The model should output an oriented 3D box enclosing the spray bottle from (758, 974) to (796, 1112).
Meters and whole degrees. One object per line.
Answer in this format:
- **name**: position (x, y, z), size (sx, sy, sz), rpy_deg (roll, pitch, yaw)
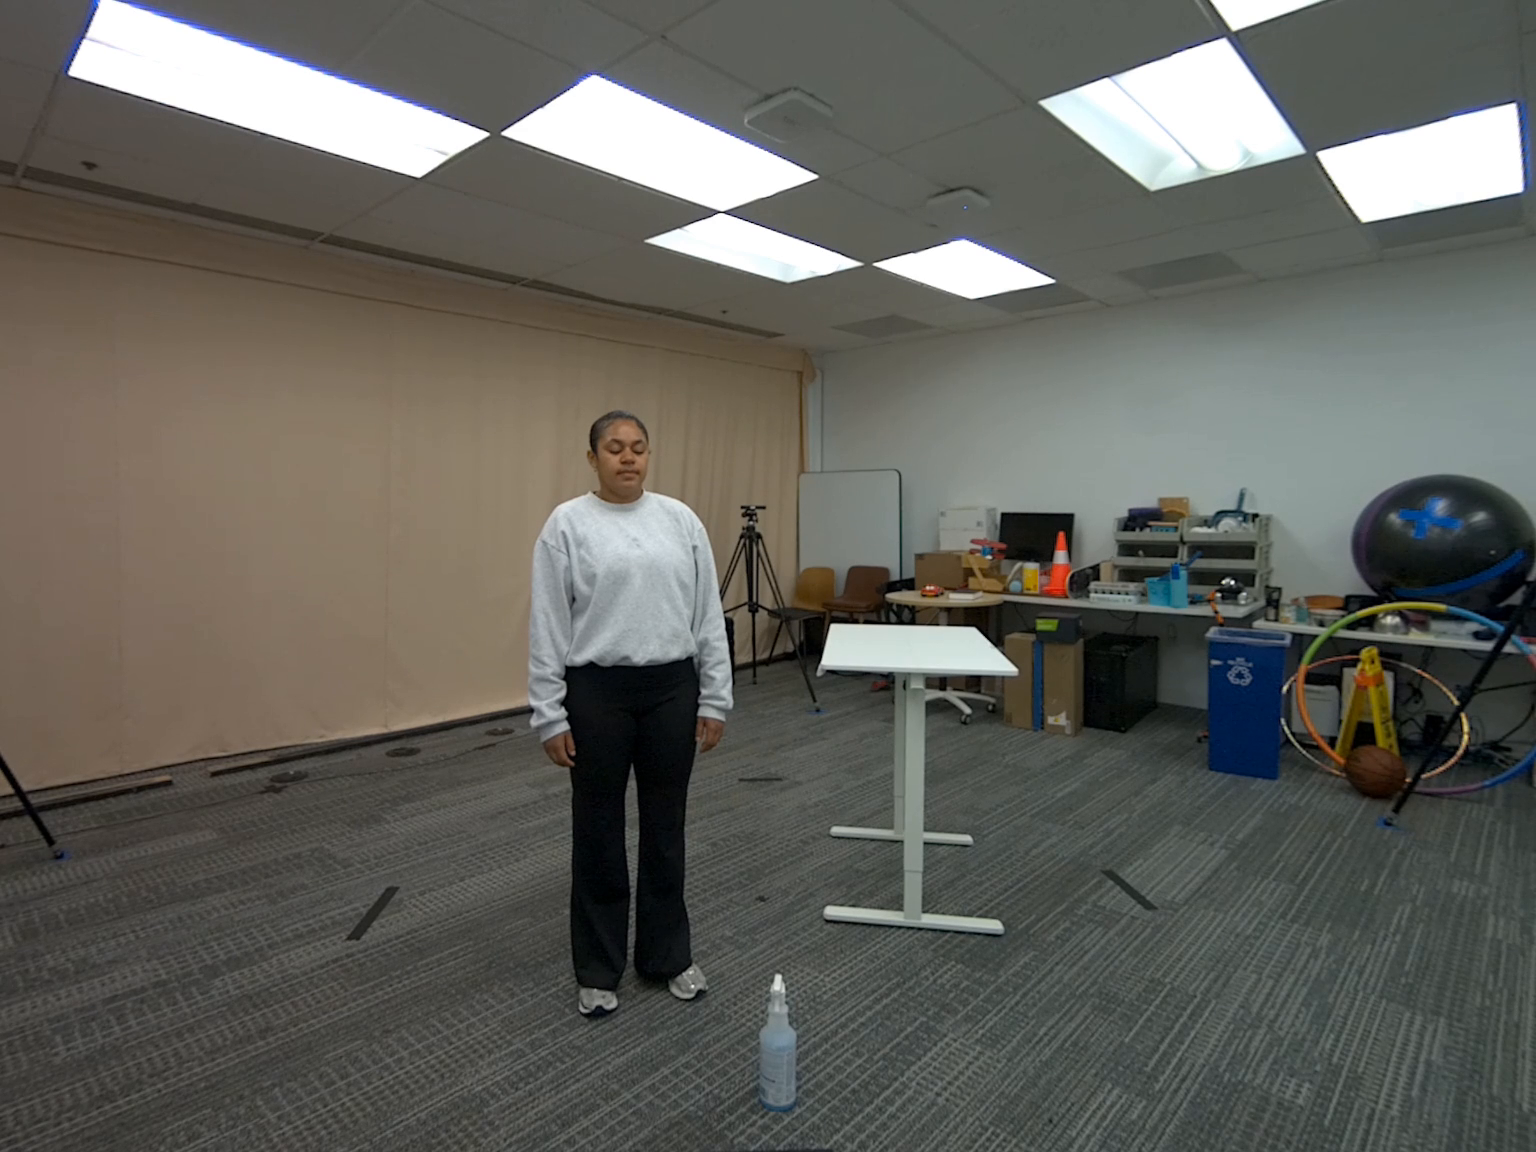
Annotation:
- **spray bottle**: position (0.028, 1.088, 1.961), size (0.089, 0.296, 0.088), rpy_deg (2, 5, 31)
